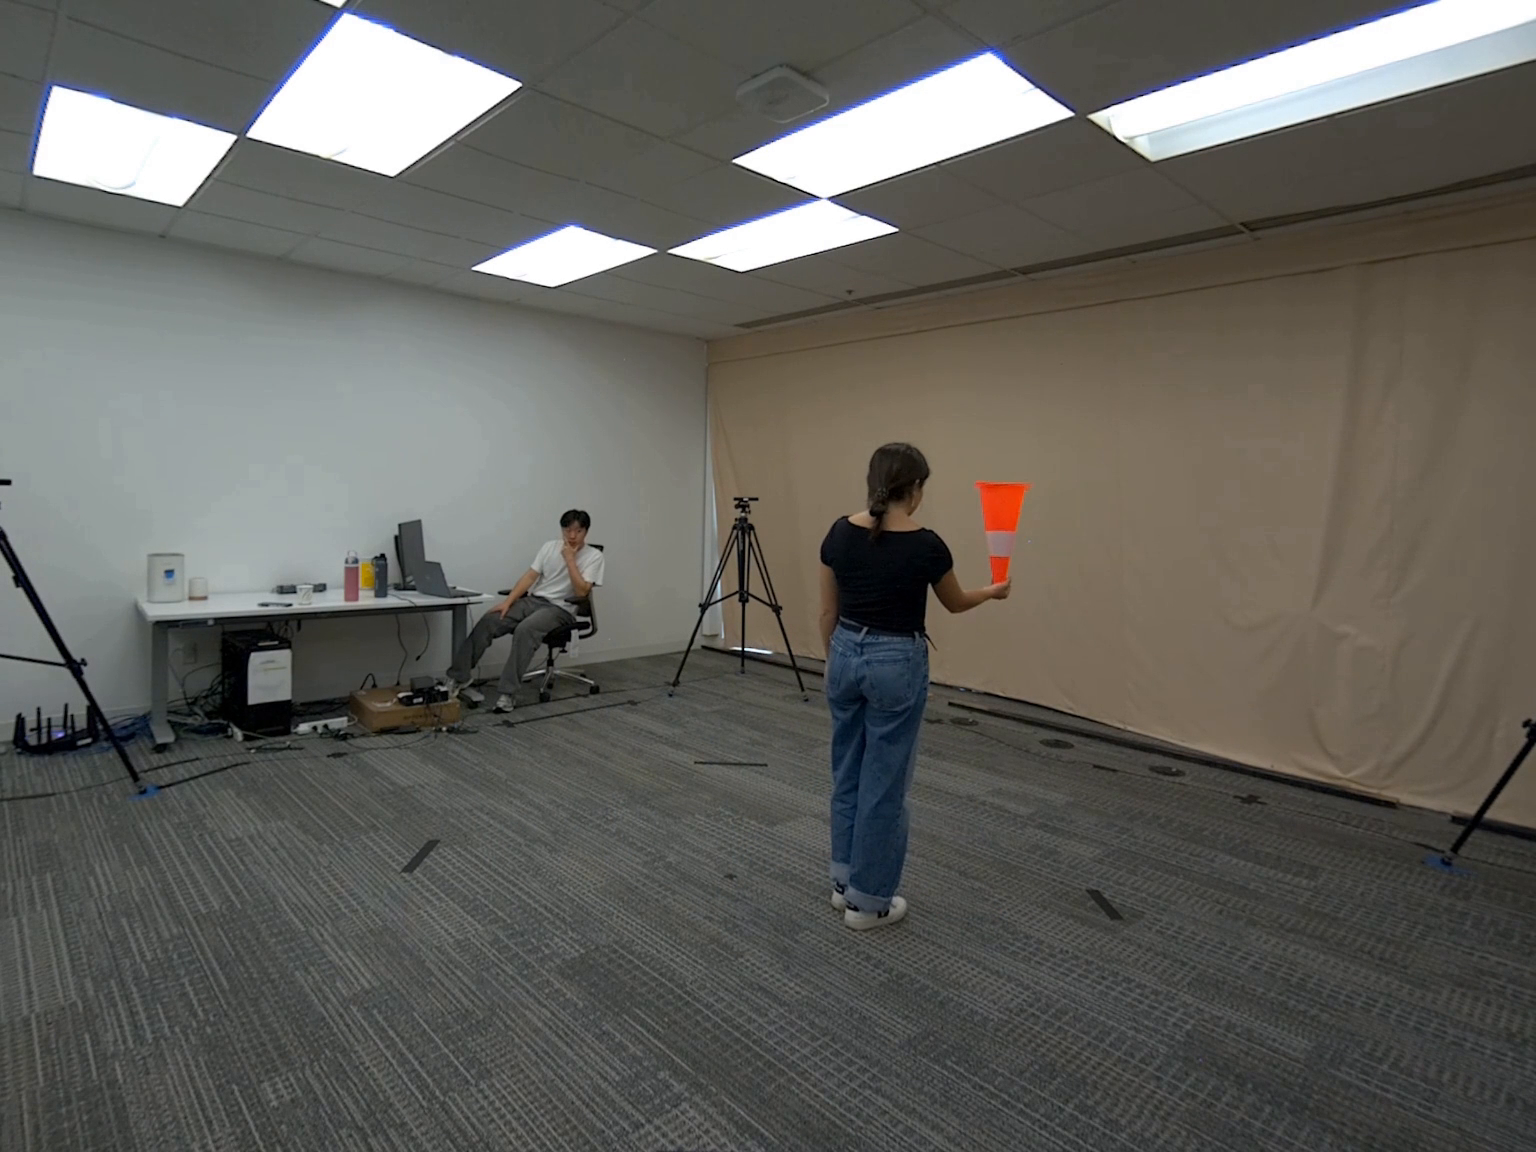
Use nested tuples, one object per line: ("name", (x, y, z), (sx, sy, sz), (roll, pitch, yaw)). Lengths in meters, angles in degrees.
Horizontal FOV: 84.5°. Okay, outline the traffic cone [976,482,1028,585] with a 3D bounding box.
("traffic cone", (0.834, -0.129, 3.029), (0.206, 0.384, 0.201), (5, -1, 8))
